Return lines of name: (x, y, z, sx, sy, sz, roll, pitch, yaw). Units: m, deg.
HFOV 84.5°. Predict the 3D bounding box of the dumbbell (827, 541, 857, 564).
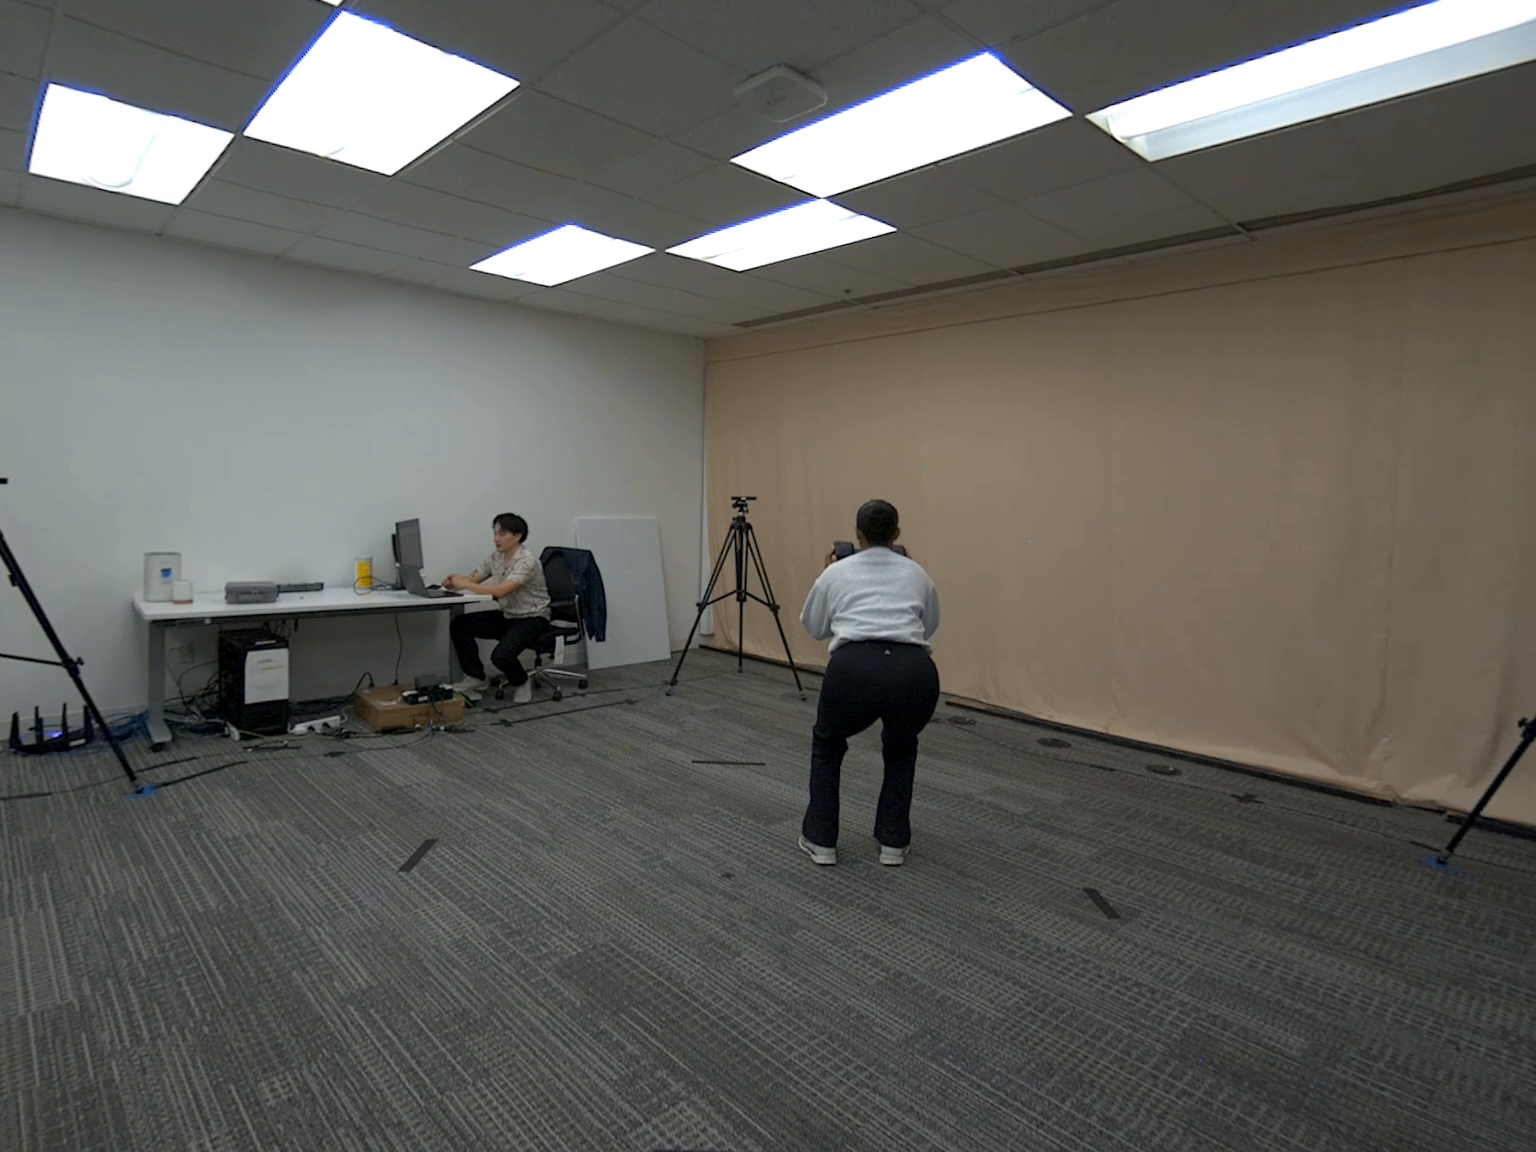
dumbbell: (0.416, -0.077, 3.481, 0.293, 0.121, 0.111, 5, 35, -2)
